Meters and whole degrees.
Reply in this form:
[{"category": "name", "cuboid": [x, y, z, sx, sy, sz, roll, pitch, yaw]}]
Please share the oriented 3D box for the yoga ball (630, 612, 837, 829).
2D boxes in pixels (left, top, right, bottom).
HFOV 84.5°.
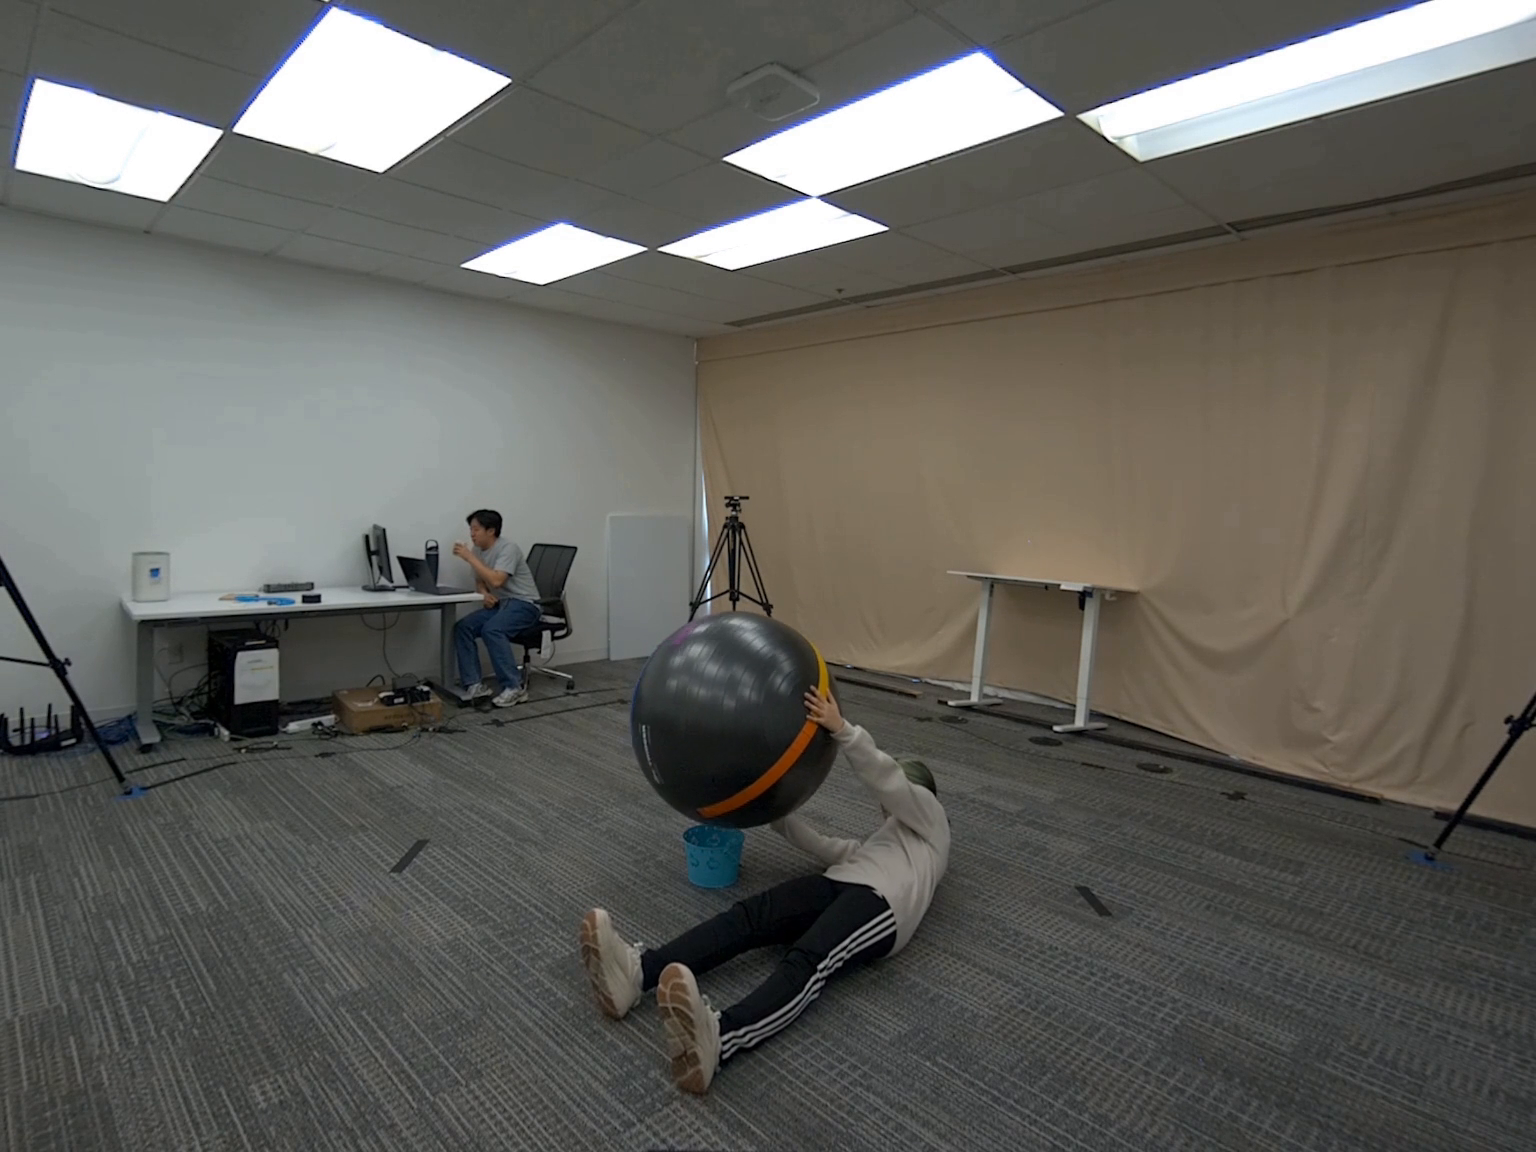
[{"category": "yoga ball", "cuboid": [-0.117, 0.508, 3.020, 0.757, 0.756, 0.761, 1, 4, -1]}]
